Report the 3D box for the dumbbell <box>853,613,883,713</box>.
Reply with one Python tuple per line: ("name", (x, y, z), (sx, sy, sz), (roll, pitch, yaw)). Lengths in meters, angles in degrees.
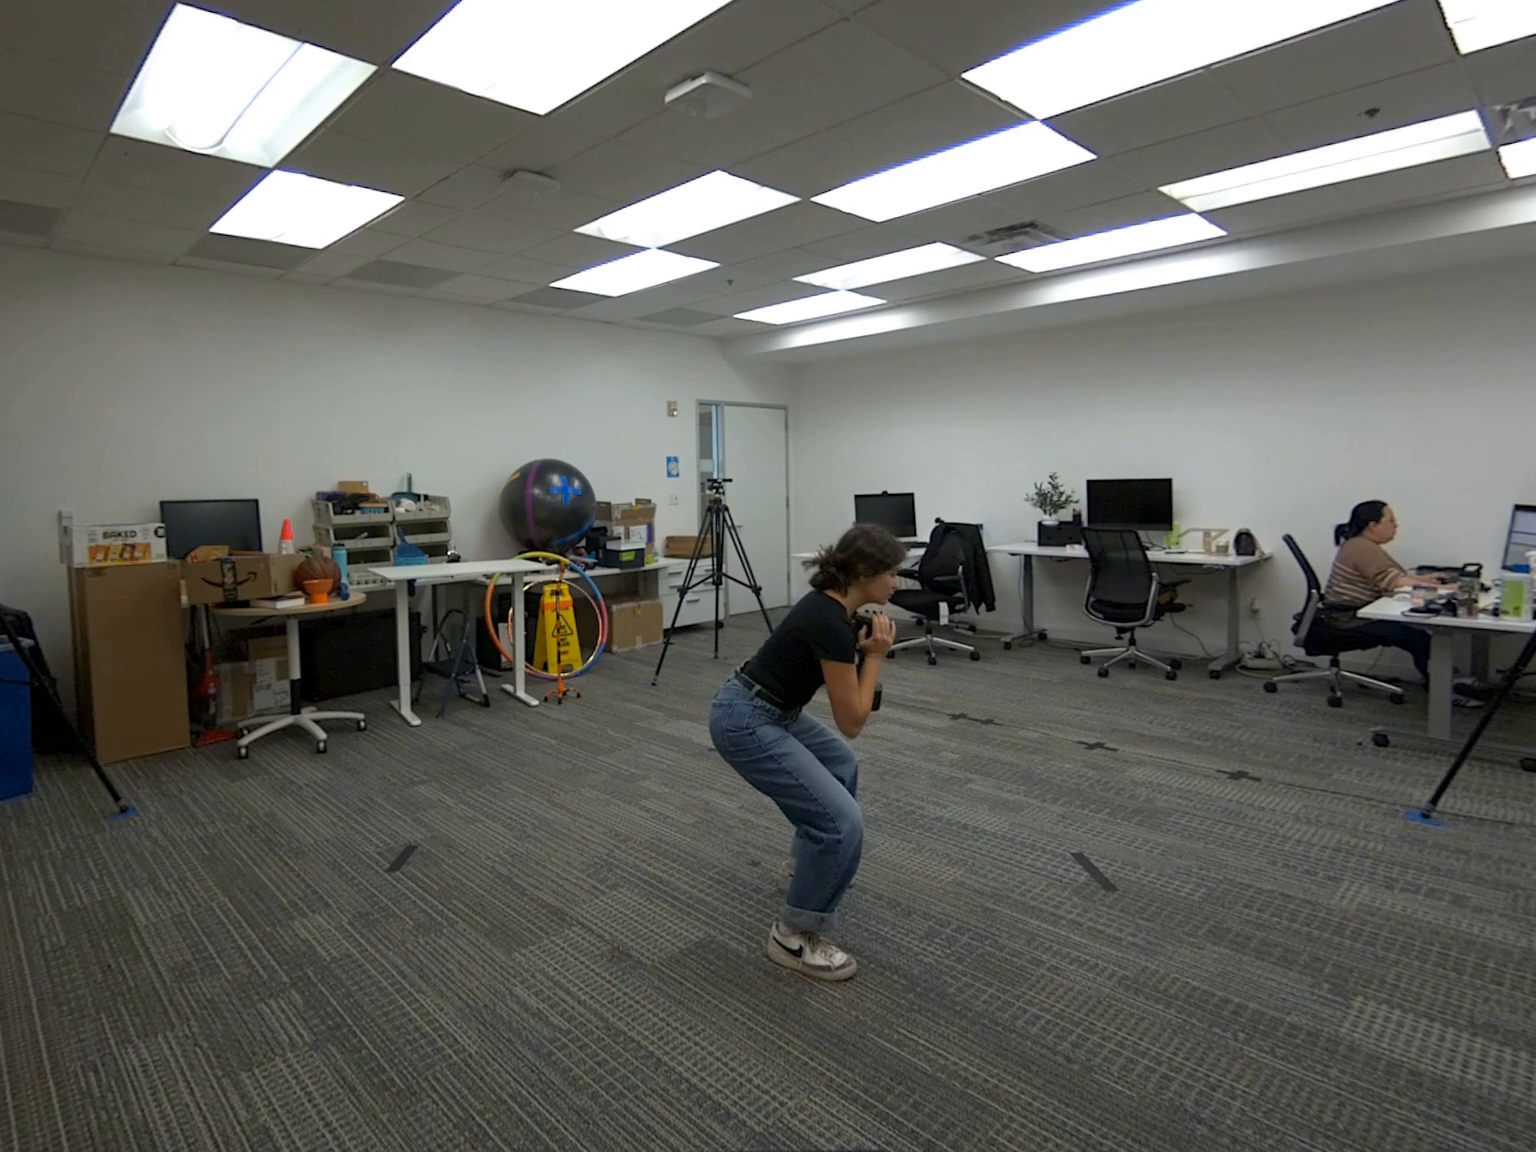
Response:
("dumbbell", (0.284, 0.269, 2.624), (0.126, 0.293, 0.106), (10, 4, 28))
